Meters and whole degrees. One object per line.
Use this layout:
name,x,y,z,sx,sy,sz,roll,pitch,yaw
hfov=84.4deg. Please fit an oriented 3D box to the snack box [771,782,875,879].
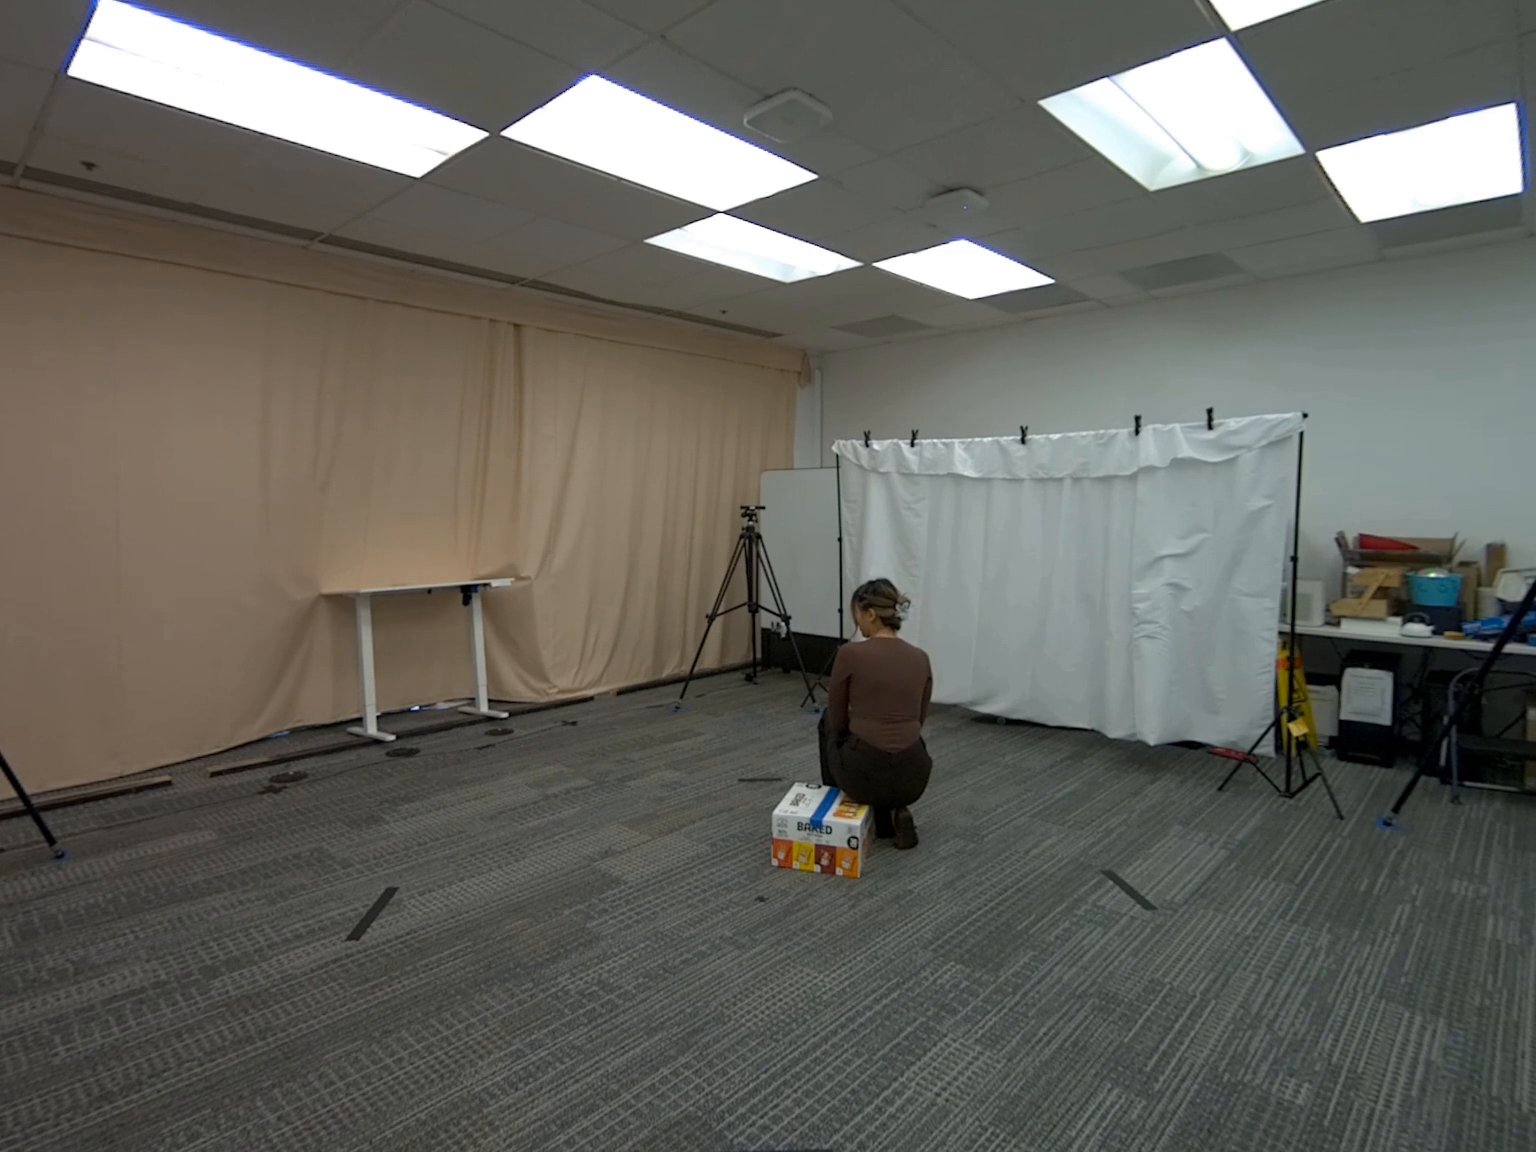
snack box,0.233,1.010,3.384,0.347,0.205,0.398,2,4,17
